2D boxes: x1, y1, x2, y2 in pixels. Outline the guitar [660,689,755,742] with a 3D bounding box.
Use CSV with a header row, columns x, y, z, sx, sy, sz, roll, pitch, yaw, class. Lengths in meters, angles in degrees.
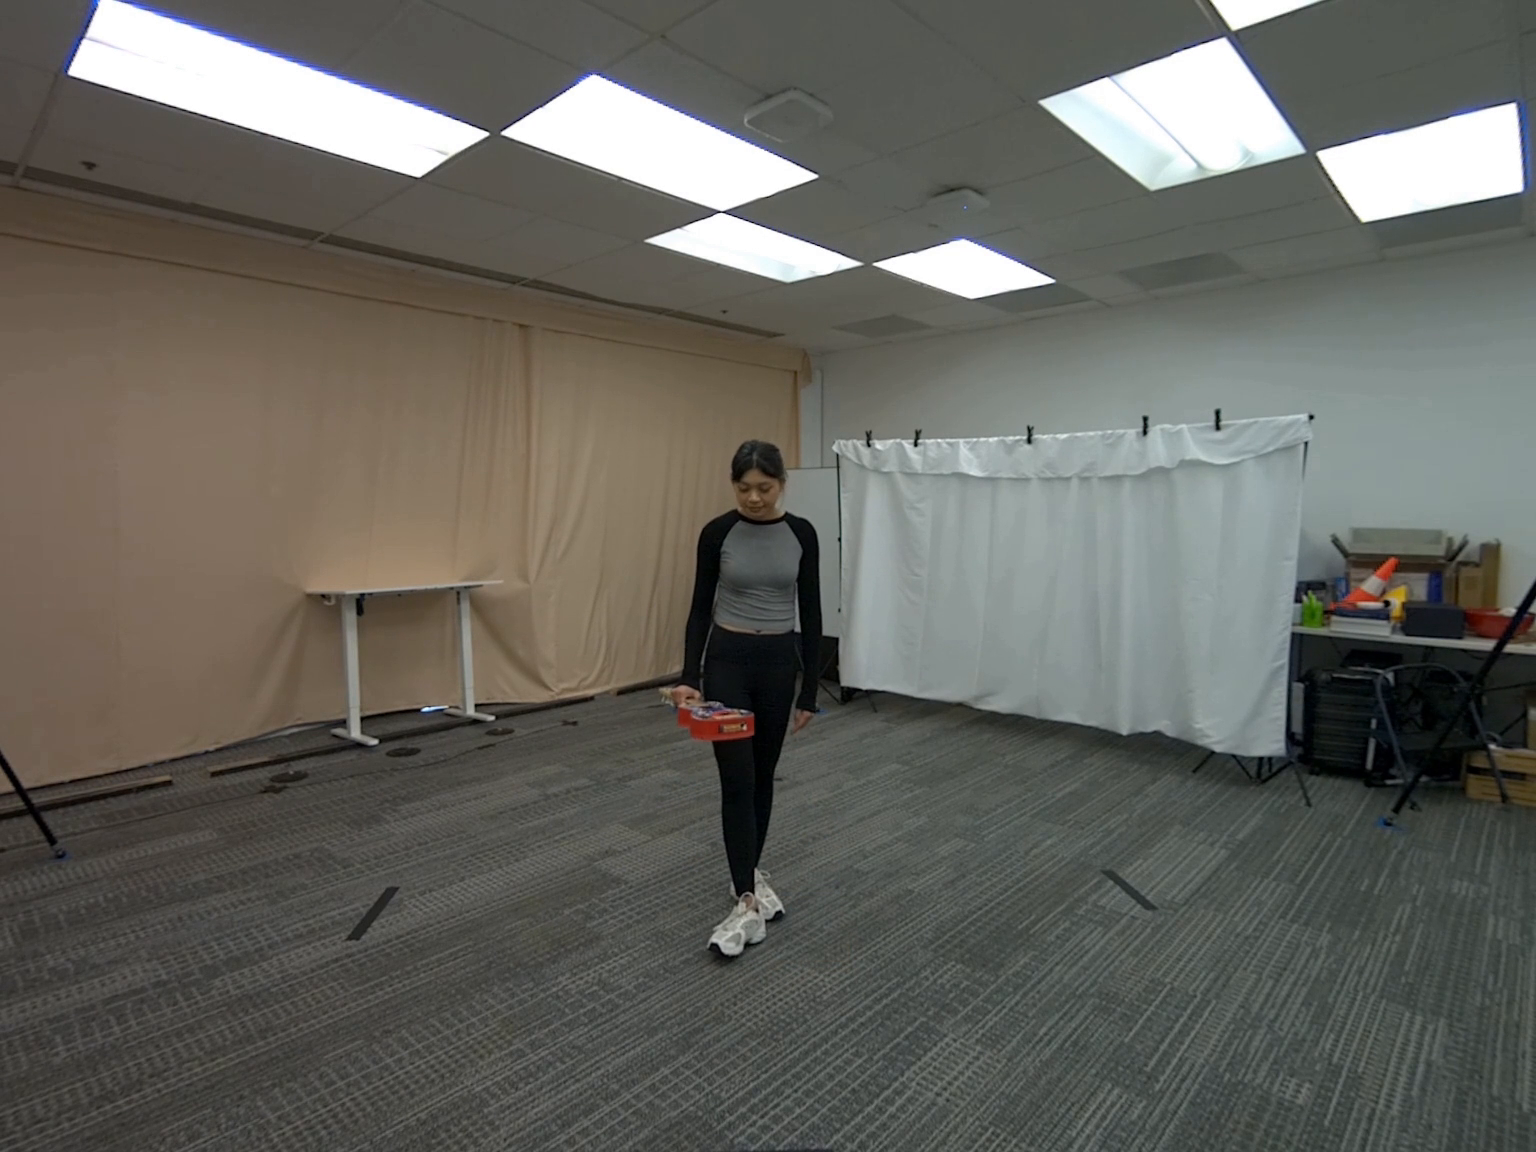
x,y,z,sx,sy,sz,roll,pitch,yaw,class
-0.197,0.418,2.650,0.190,0.070,0.507,0,4,-18,guitar
